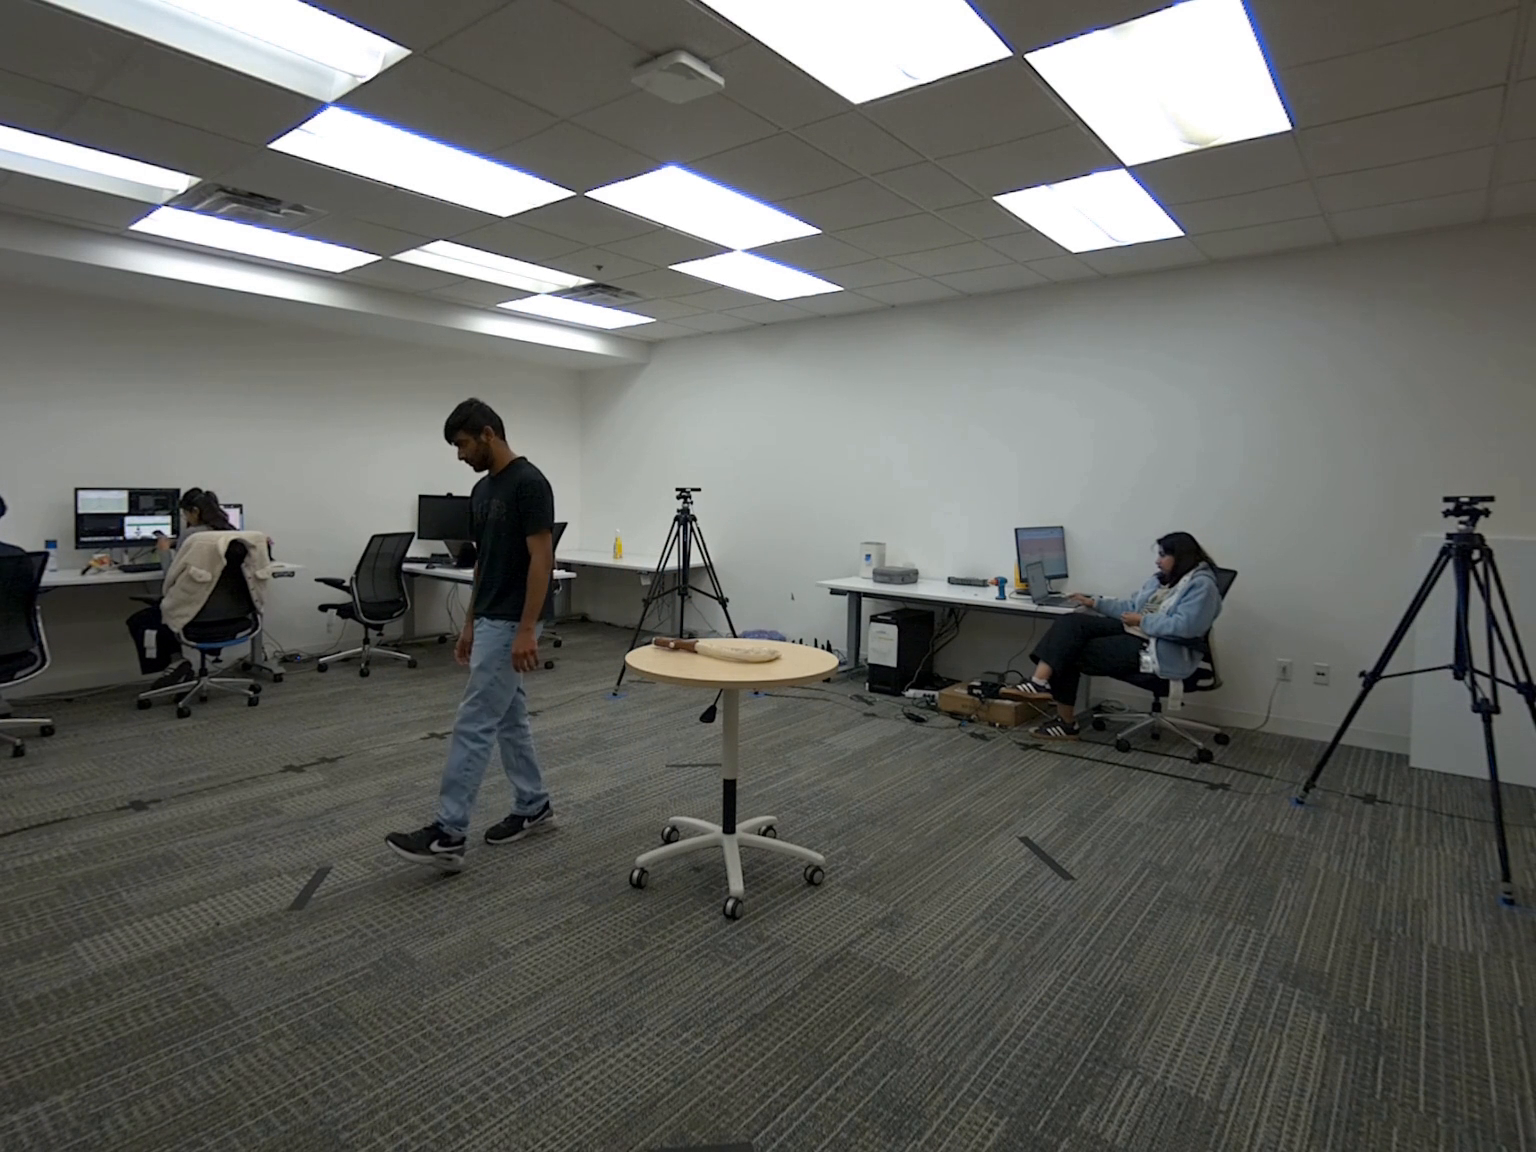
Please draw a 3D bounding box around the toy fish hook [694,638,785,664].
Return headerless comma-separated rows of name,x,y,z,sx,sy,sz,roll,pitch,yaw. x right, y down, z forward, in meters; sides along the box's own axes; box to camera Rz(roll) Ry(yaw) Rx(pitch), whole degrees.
toy fish hook,-0.206,0.270,3.146,0.522,0.048,0.217,5,0,32
